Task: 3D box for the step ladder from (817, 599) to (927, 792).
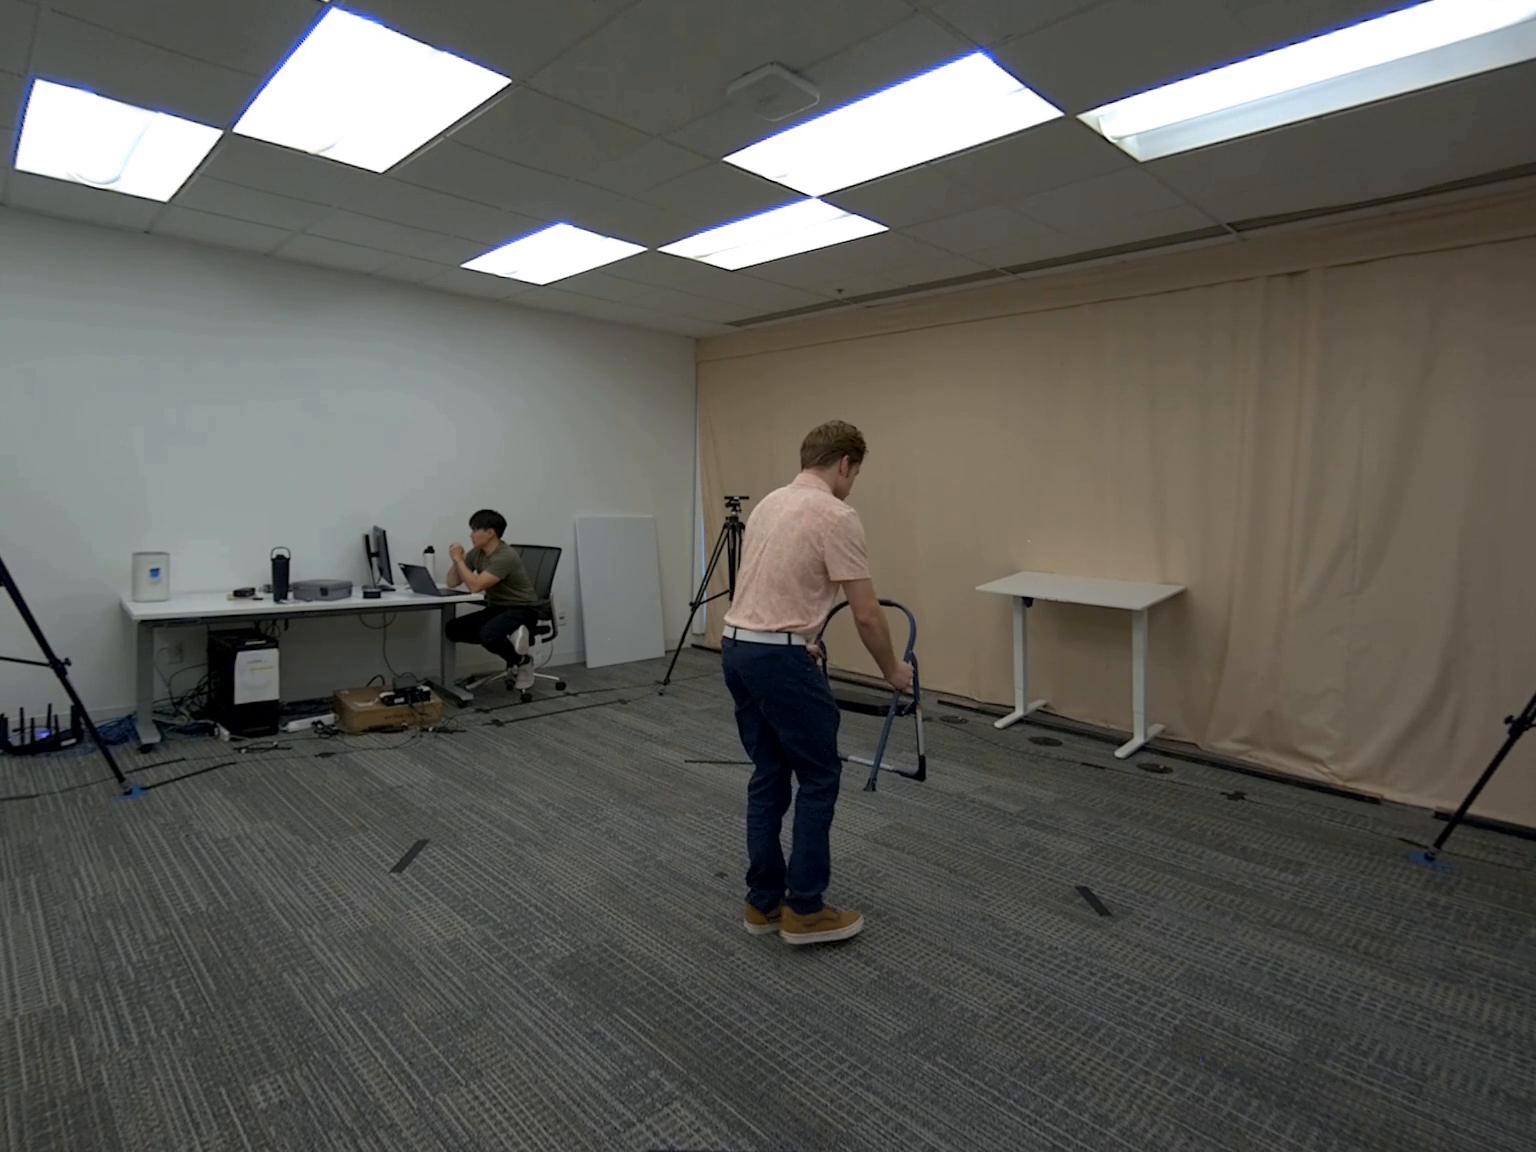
[{"bbox_3d":[0.306,0.387,2.921,0.441,0.607,0.340,3,-3,42],"label":"step ladder"}]
